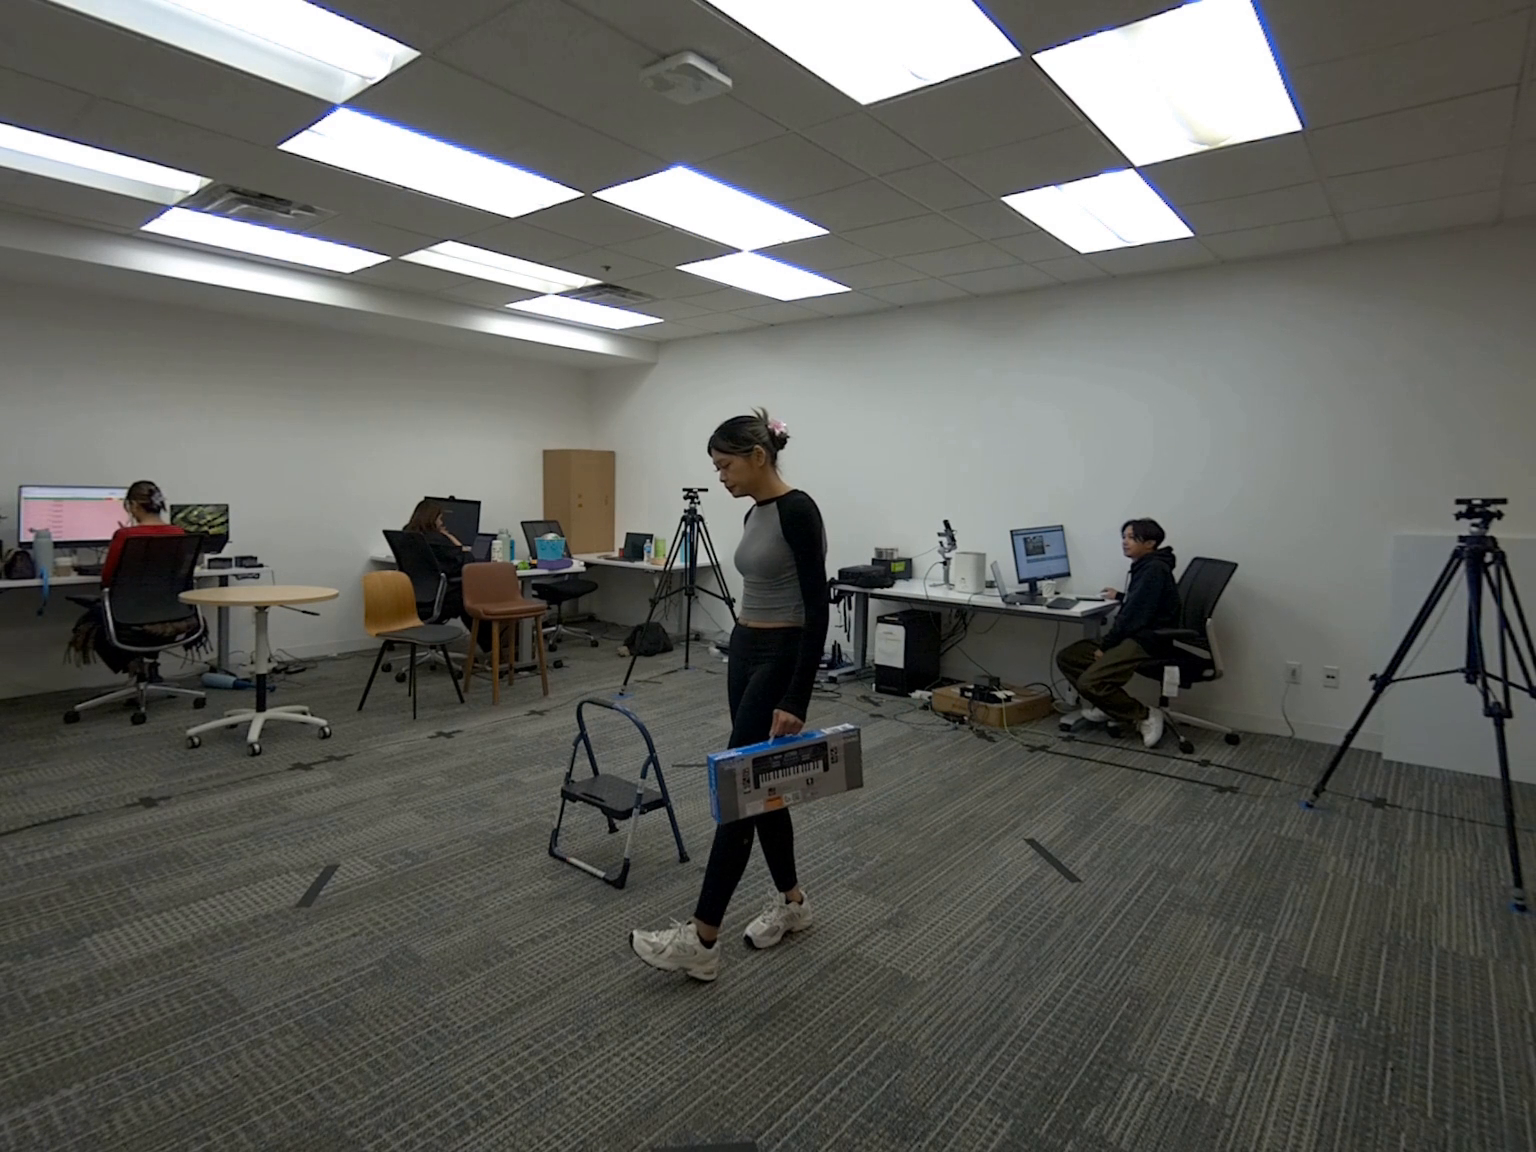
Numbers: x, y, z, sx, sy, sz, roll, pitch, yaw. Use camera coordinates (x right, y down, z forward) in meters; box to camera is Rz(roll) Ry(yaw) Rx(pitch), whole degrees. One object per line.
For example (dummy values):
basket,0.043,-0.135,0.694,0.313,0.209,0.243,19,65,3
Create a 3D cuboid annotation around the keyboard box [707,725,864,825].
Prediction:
keyboard box,0.046,0.524,2.292,0.428,0.175,0.060,-8,7,-23
